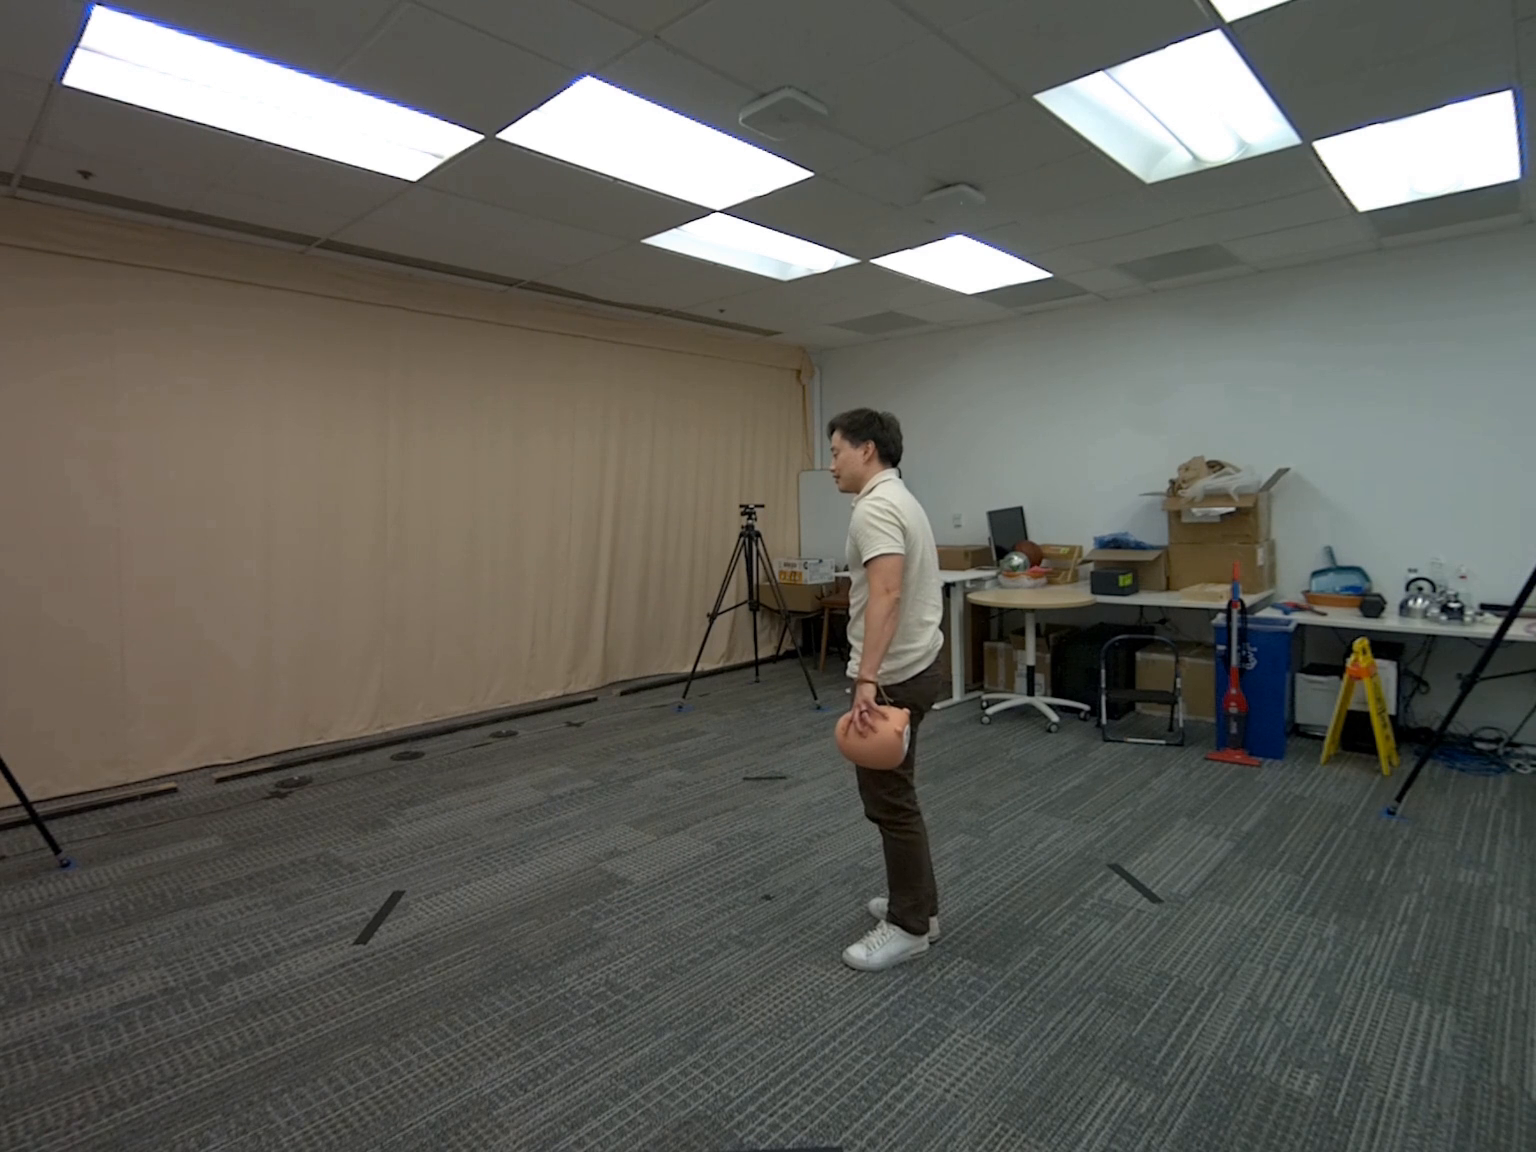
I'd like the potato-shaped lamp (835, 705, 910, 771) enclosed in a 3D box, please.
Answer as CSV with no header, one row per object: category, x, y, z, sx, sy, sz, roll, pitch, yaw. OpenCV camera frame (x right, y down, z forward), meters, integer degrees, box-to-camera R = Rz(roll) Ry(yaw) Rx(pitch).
potato-shaped lamp,0.286,0.439,2.315,0.203,0.169,0.163,6,21,21
